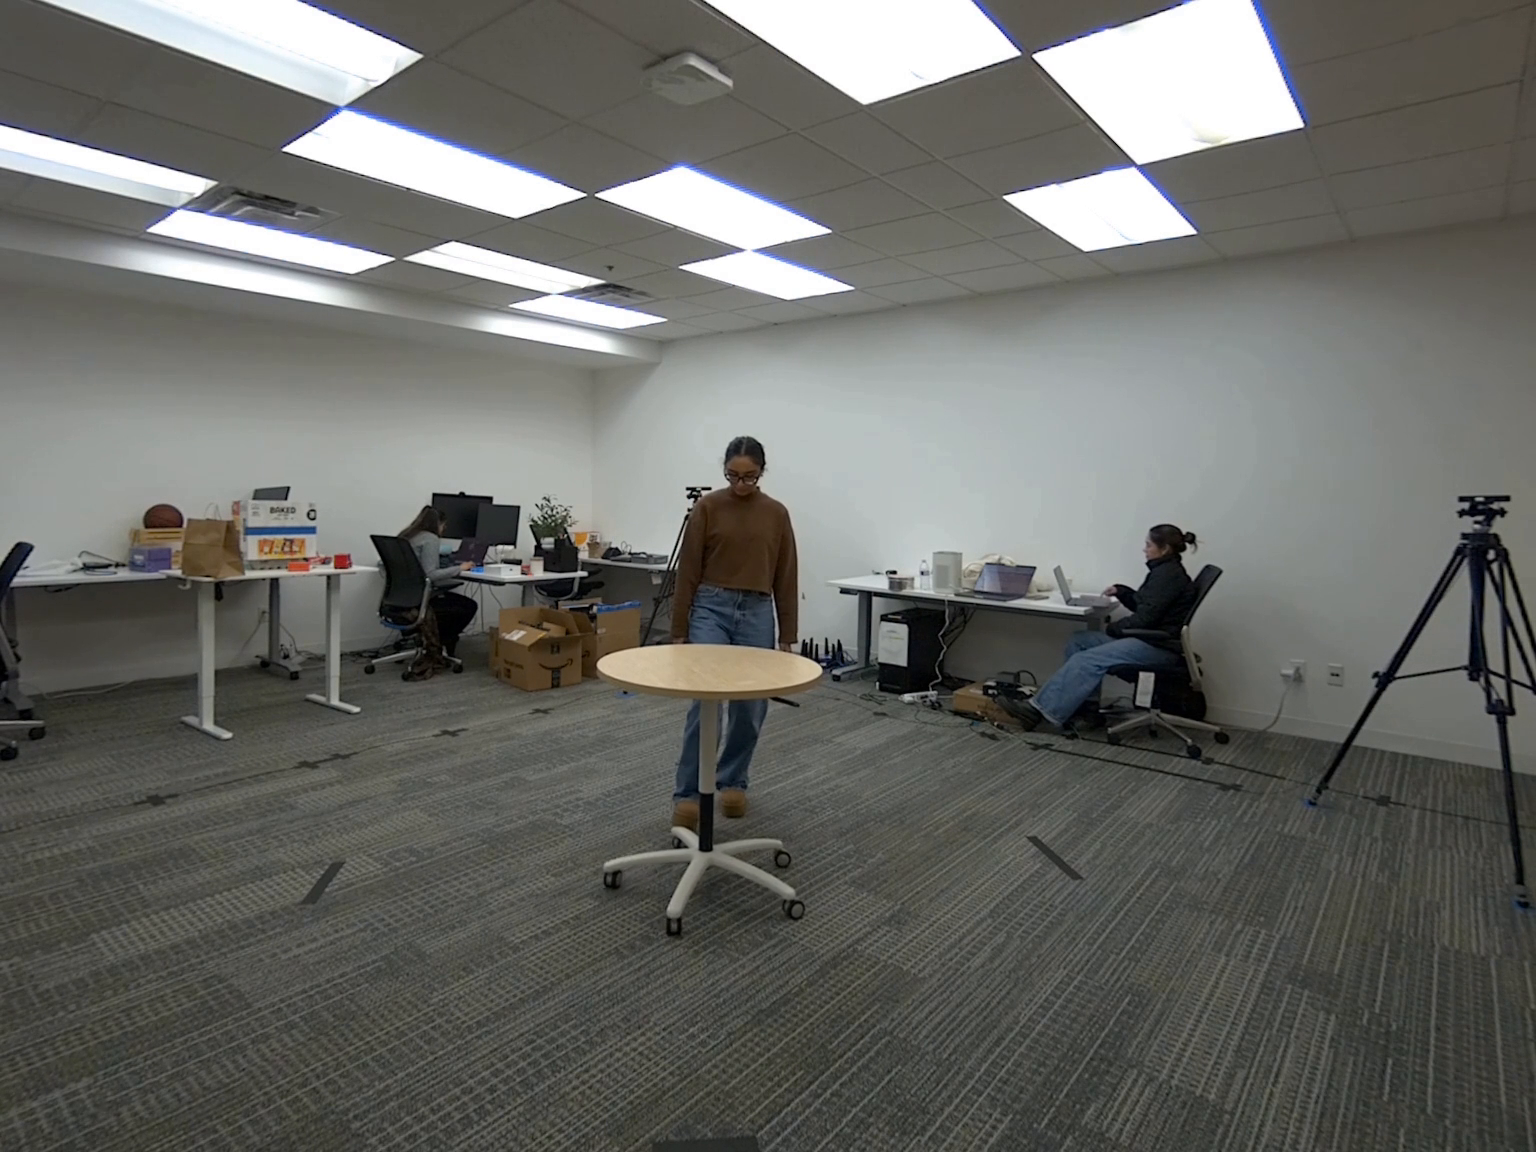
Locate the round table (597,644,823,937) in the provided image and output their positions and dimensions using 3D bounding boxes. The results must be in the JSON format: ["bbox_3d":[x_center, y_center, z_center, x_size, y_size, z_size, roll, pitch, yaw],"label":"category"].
[{"bbox_3d":[-0.209,0.693,2.928,0.763,0.792,0.767,1,4,-2],"label":"round table"}]
